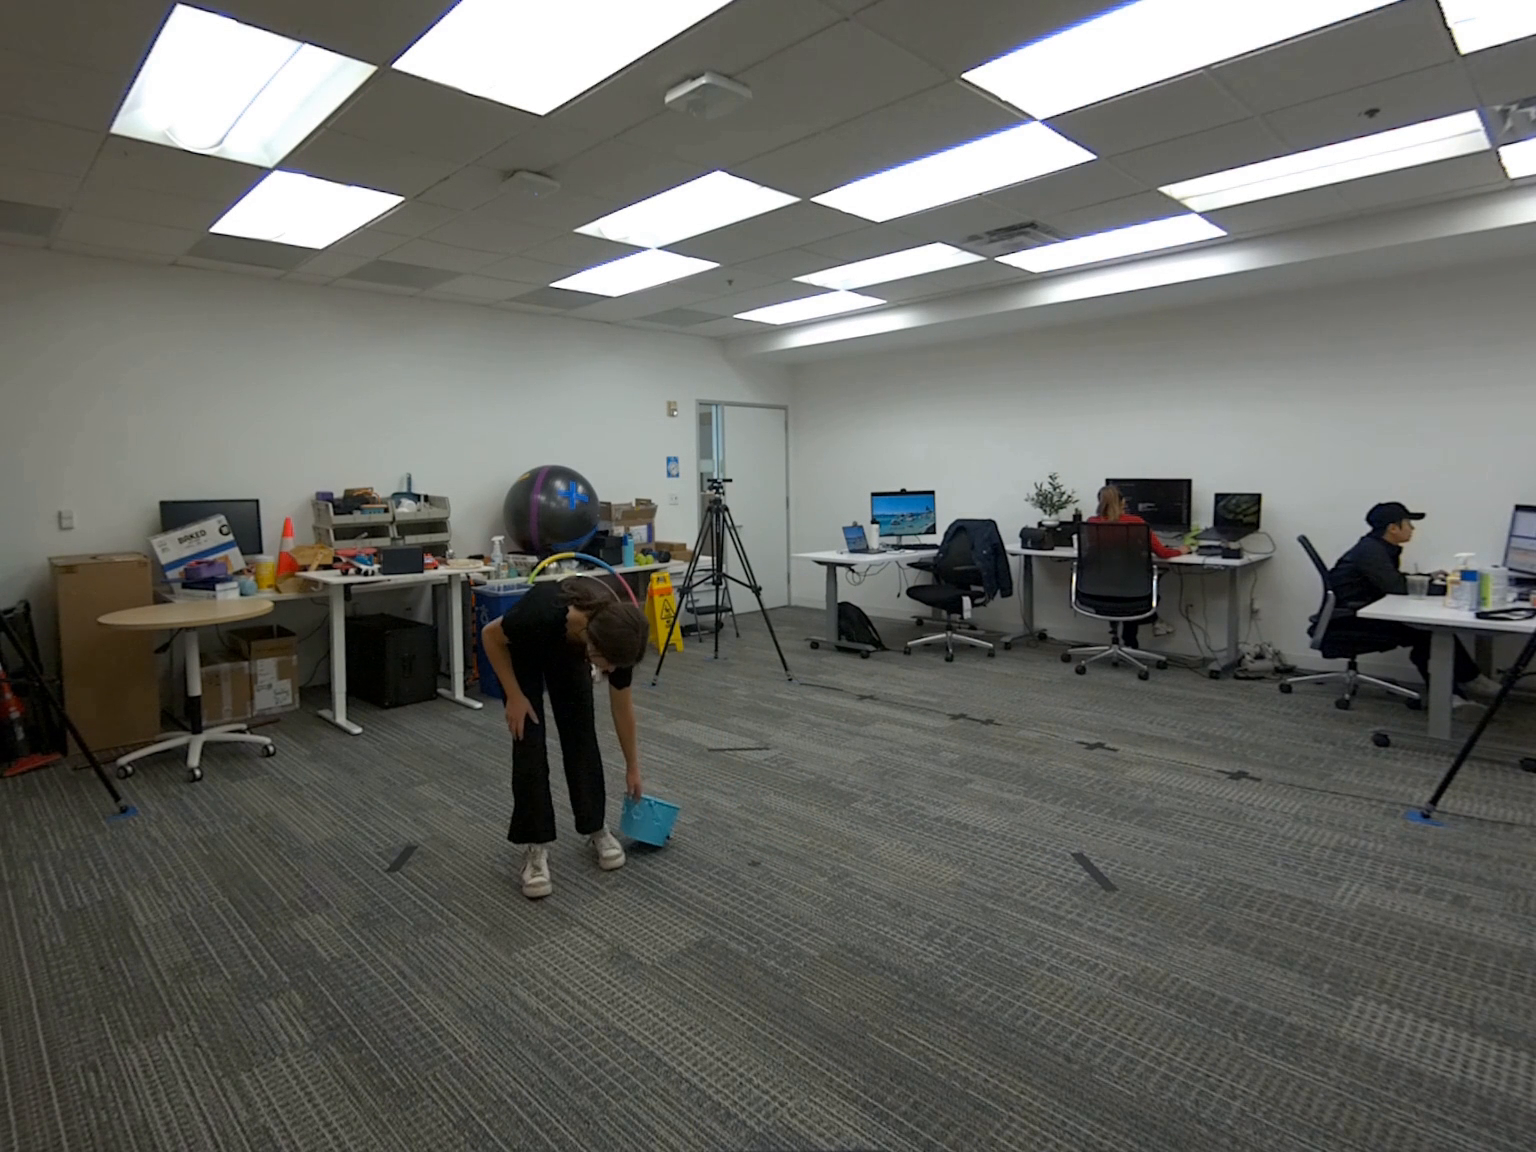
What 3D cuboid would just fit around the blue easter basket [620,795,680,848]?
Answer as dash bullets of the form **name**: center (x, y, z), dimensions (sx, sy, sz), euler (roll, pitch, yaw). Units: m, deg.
- **blue easter basket**: center (-0.459, 0.926, 3.259), dimensions (0.244, 0.157, 0.240), euler (13, -15, 2)
